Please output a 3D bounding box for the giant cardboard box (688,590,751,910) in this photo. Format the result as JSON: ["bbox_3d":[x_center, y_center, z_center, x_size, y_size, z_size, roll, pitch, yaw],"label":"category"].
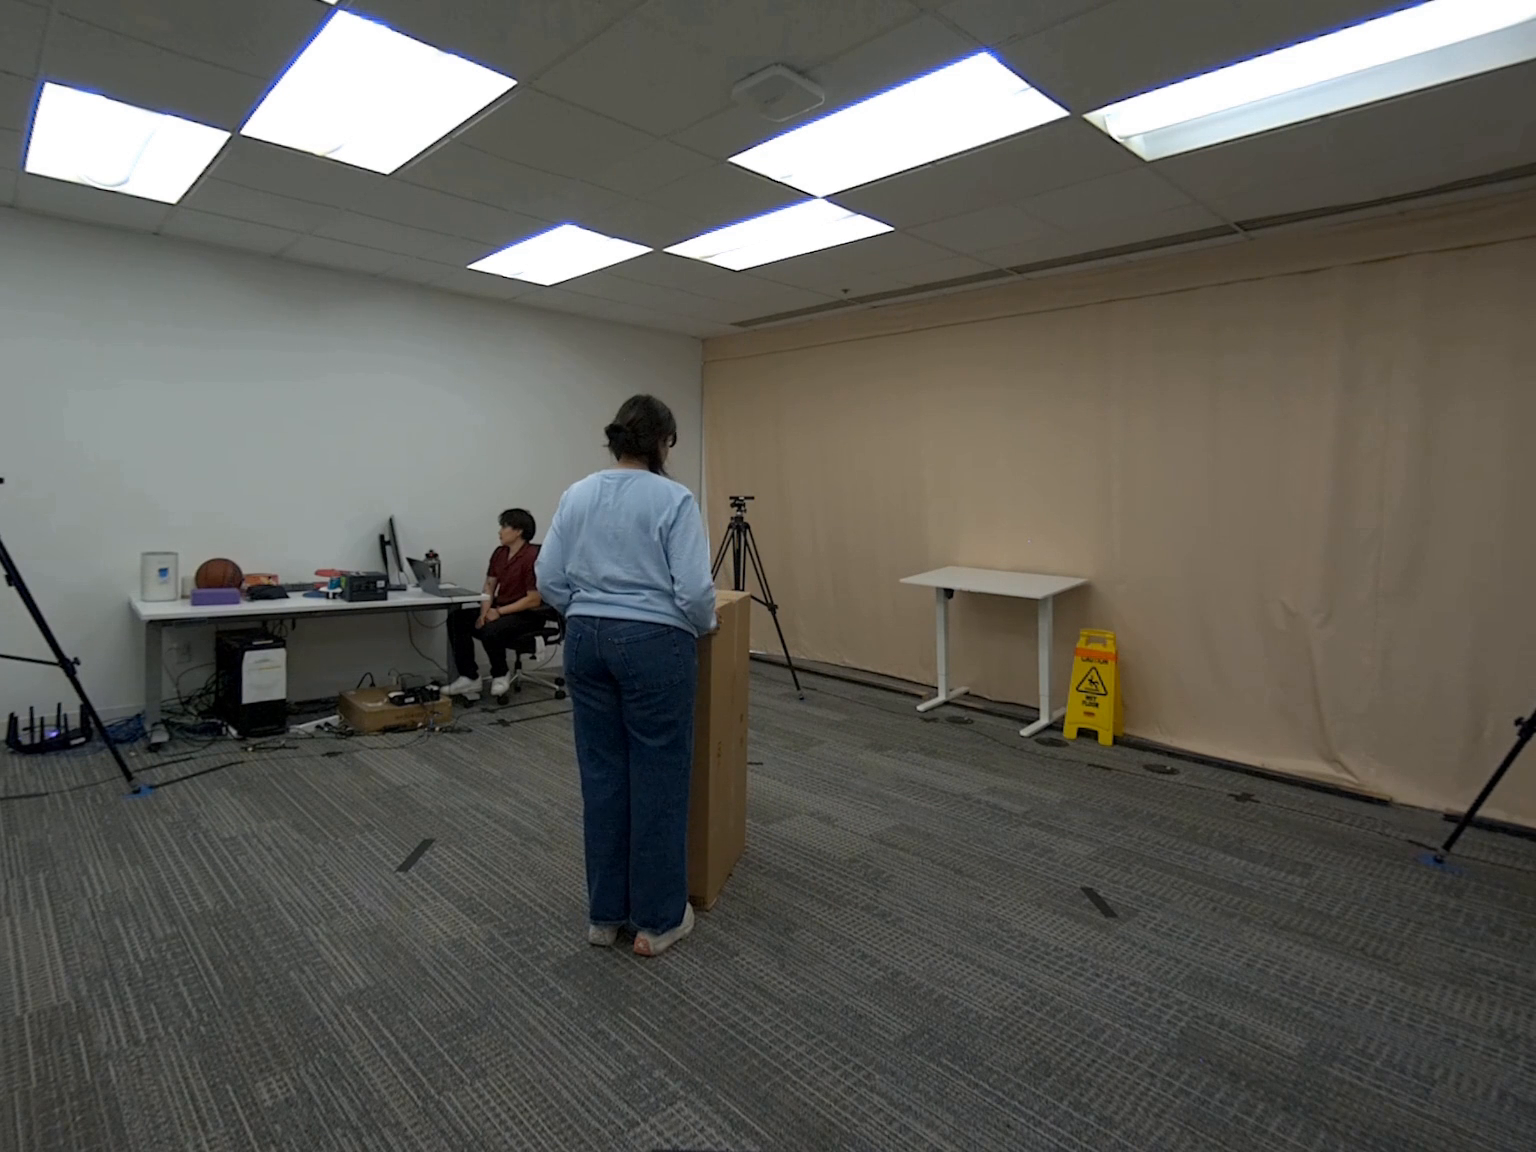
[{"bbox_3d":[-0.341,0.591,3.128,0.431,1.023,0.573,2,4,12],"label":"giant cardboard box"}]
